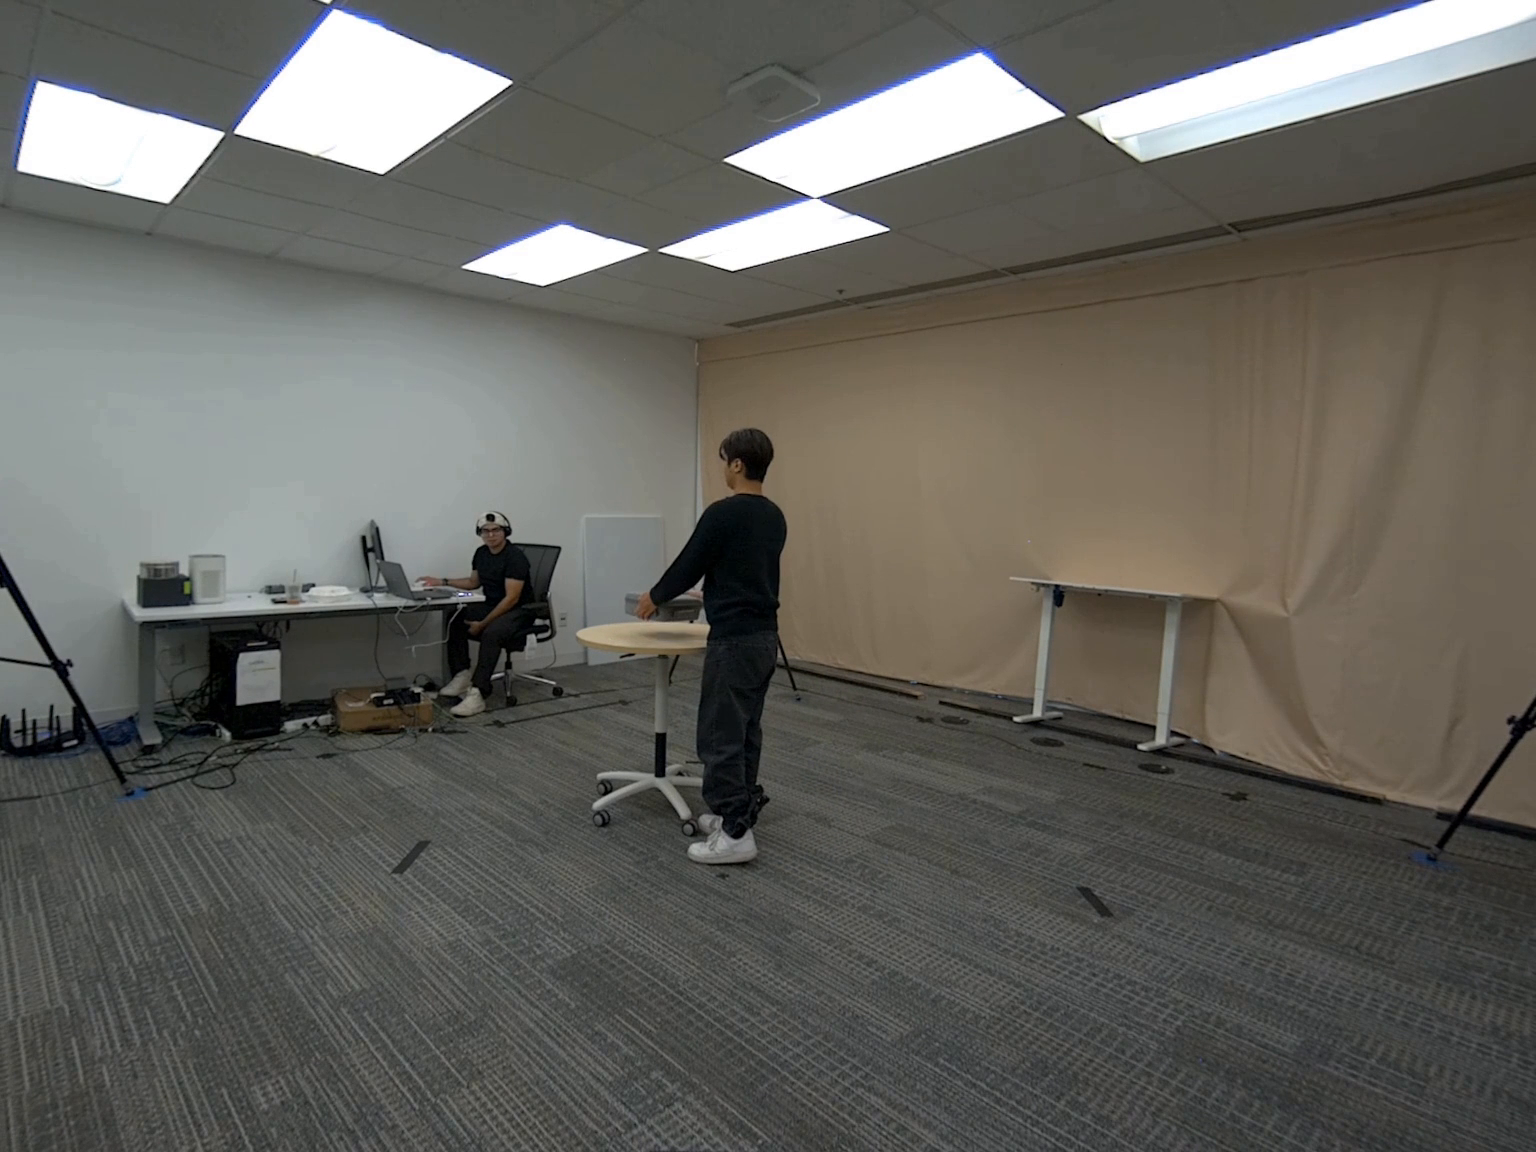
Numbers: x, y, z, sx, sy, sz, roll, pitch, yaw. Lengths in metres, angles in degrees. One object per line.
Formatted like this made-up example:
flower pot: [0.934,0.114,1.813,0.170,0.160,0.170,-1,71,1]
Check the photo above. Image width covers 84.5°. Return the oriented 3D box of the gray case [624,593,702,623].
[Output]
gray case: [-0.475,0.130,3.702,0.267,0.104,0.251,9,5,38]
